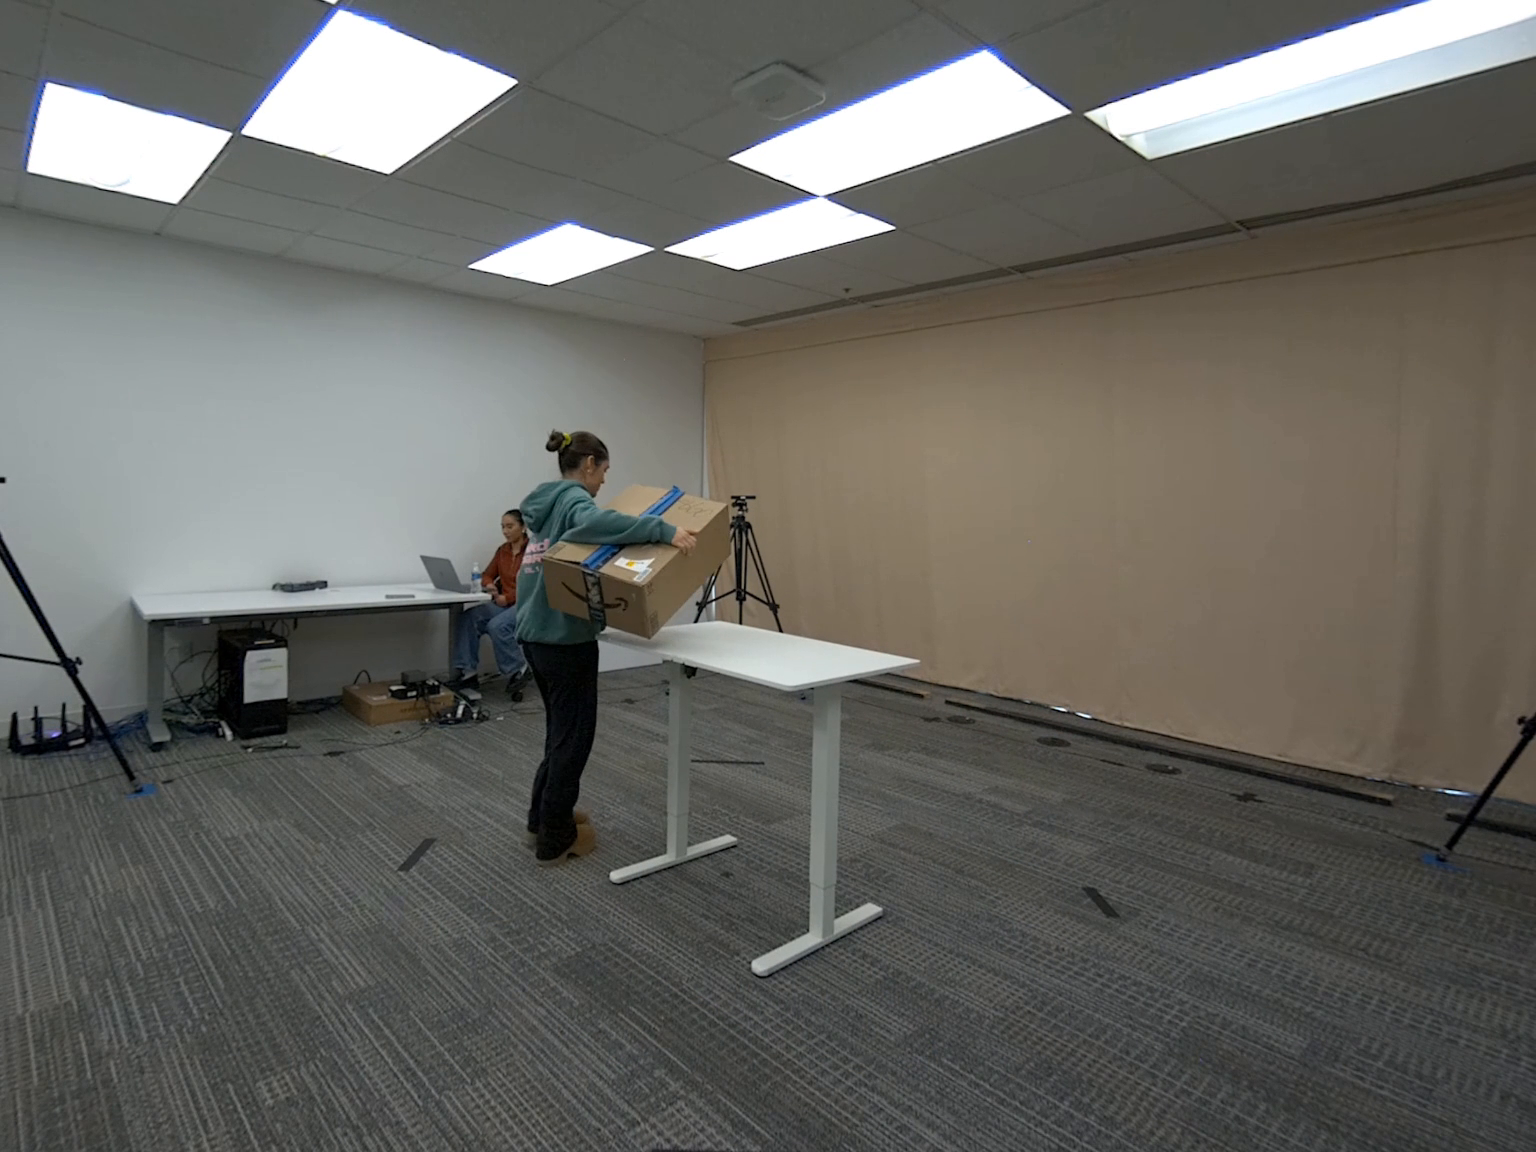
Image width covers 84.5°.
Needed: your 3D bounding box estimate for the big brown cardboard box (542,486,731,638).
[{"bbox_3d":[-0.453,-0.068,2.951,0.427,0.228,0.588,13,36,24],"label":"big brown cardboard box"}]
